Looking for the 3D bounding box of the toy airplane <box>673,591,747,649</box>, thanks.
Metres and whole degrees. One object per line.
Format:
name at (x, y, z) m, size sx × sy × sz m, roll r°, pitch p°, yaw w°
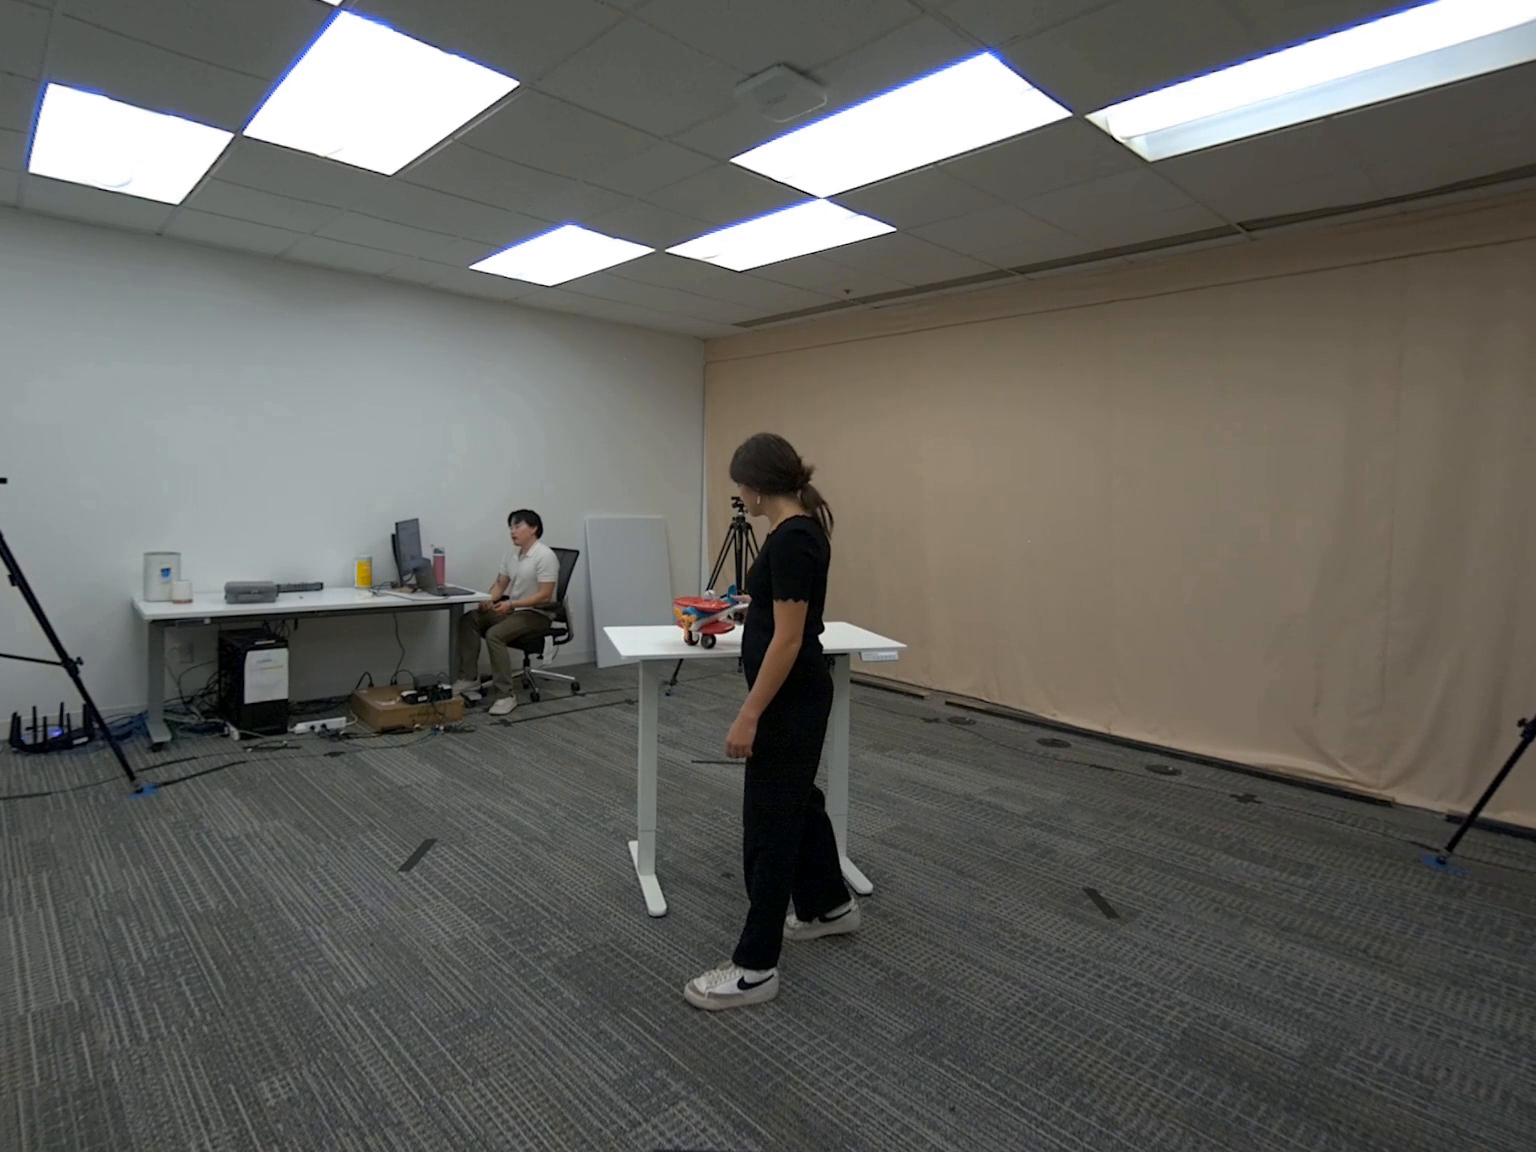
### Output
toy airplane at (-0.215, 0.135, 2.915) m, size 0.254 × 0.153 × 0.261 m, roll -9°, pitch 24°, yaw 20°
